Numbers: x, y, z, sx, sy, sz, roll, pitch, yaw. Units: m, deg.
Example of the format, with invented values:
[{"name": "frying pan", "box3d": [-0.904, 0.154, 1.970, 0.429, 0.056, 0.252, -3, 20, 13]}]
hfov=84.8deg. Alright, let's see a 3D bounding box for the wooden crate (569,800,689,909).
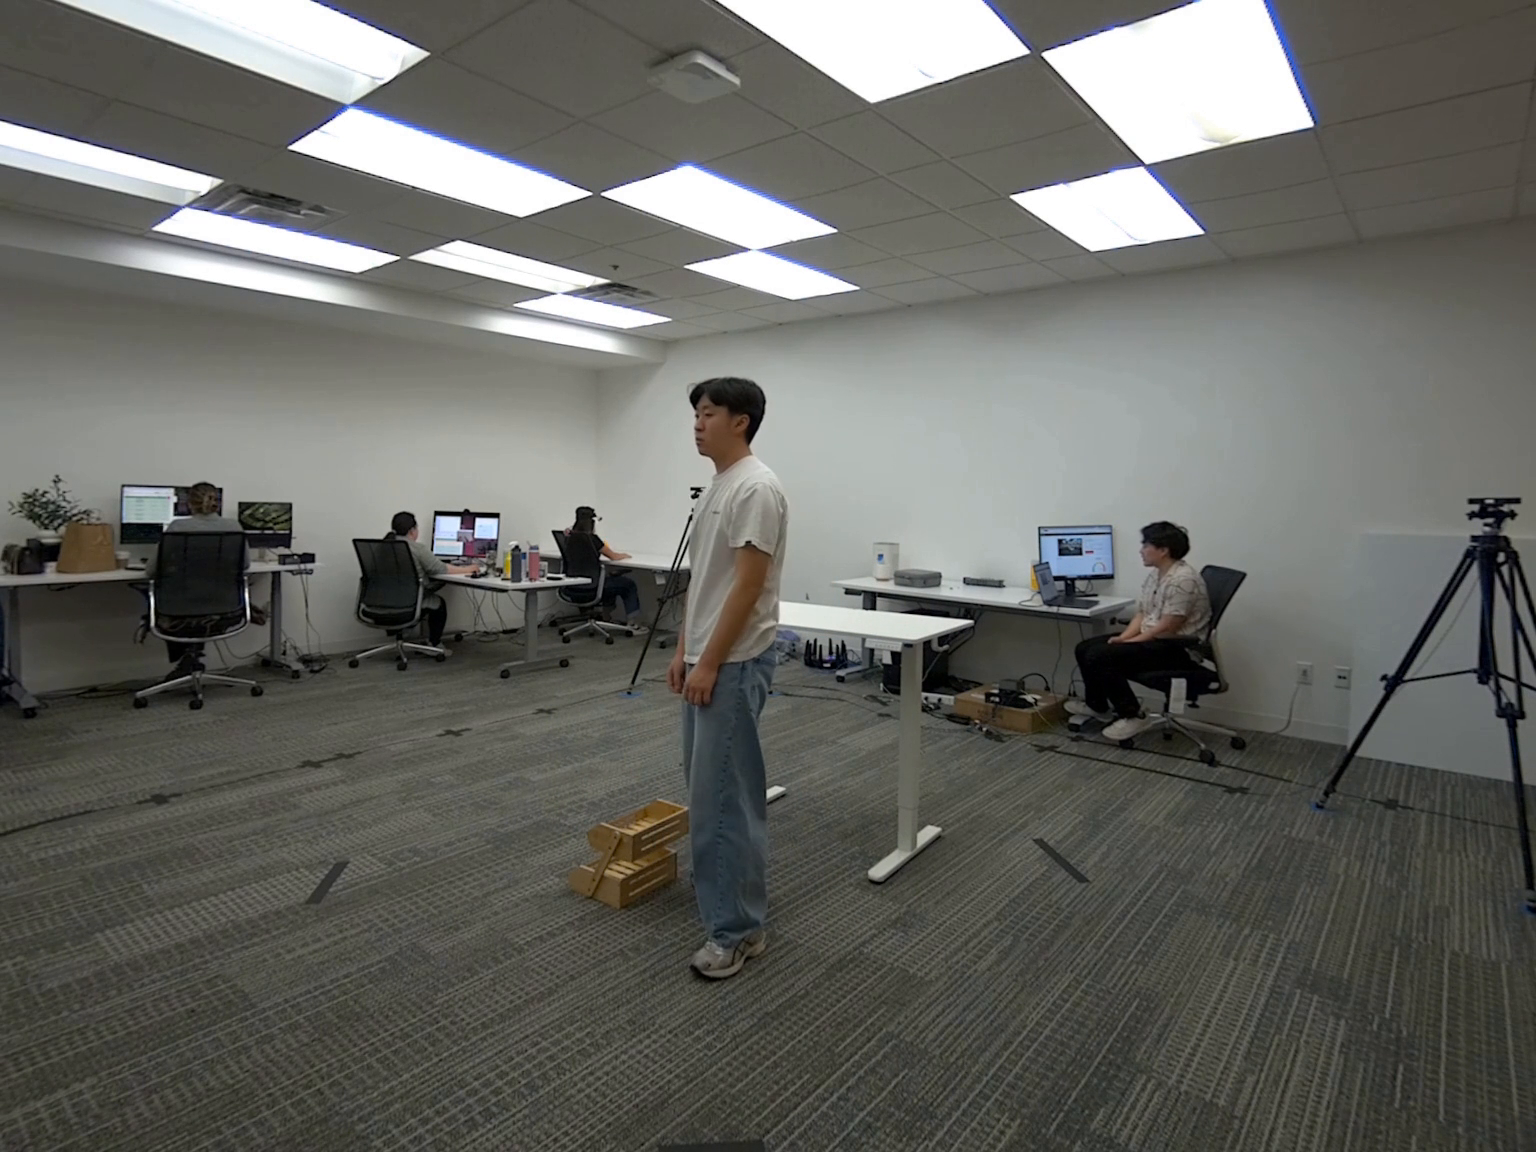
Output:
[{"name": "wooden crate", "box3d": [-0.496, 0.939, 2.966, 0.312, 0.272, 0.315, 4, 5, 34]}]
